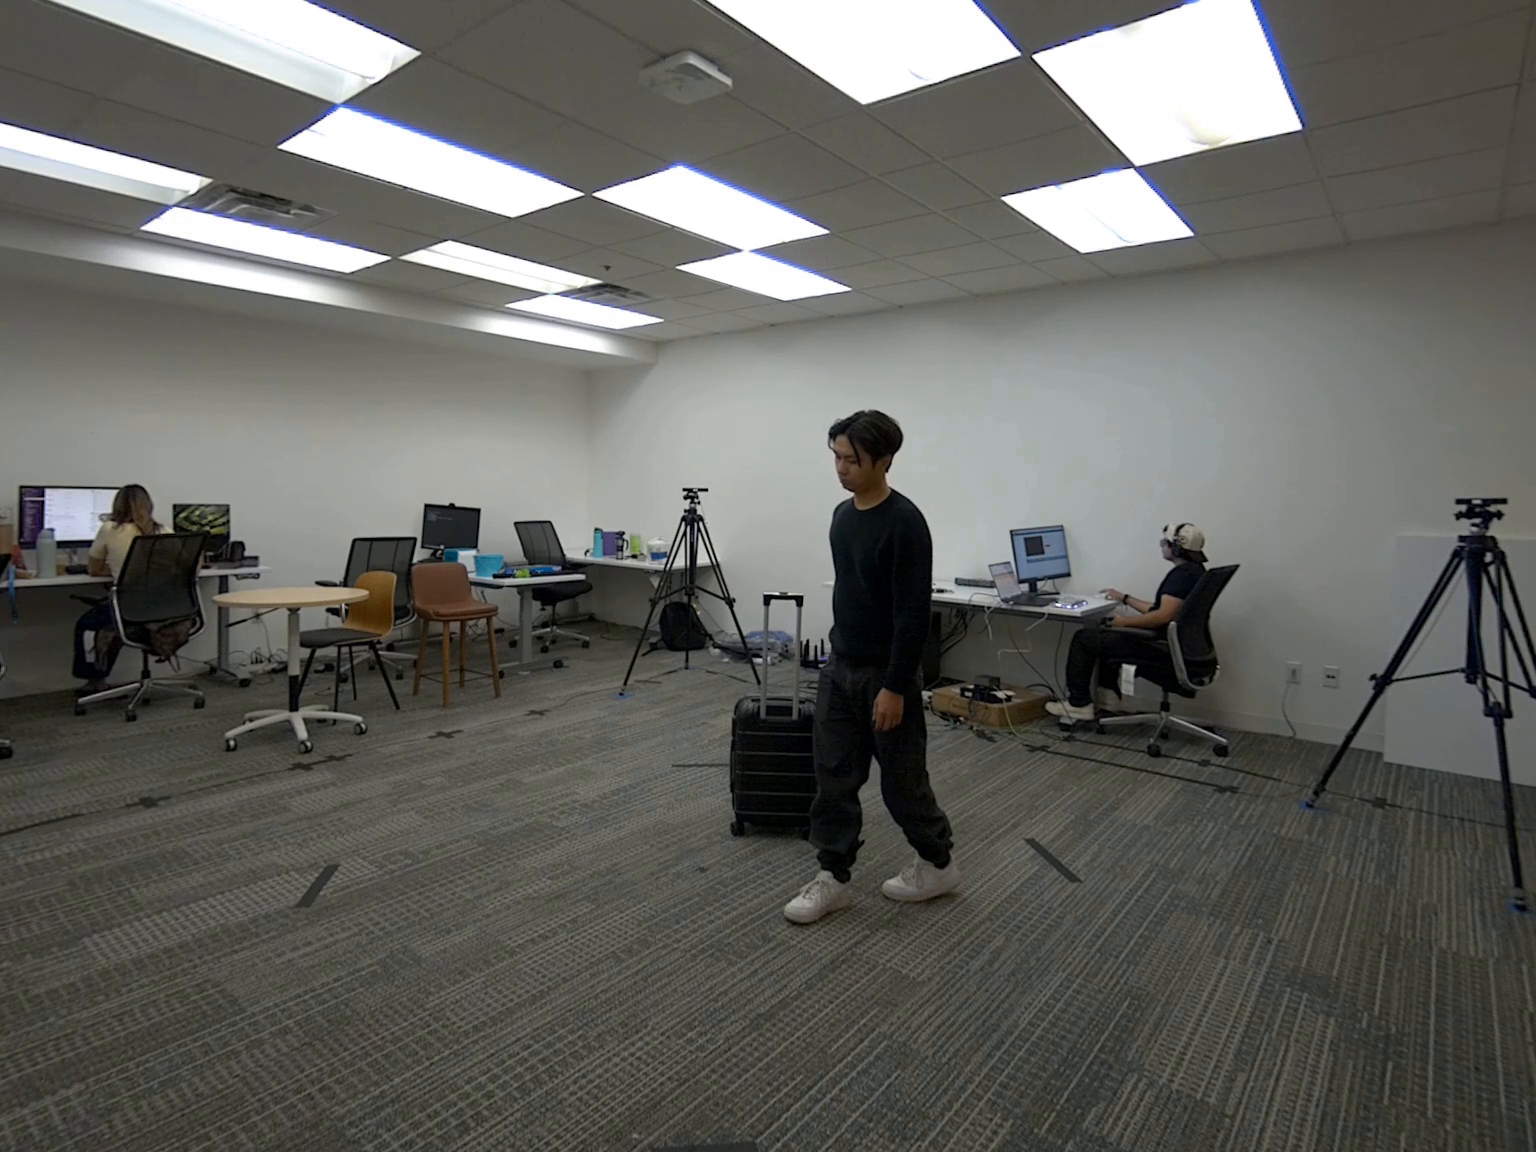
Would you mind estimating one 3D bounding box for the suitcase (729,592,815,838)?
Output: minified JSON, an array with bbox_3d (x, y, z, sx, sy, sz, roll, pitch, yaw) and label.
[{"bbox_3d":[0.031,0.556,3.497,0.384,0.977,0.257,2,2,-1],"label":"suitcase"}]
